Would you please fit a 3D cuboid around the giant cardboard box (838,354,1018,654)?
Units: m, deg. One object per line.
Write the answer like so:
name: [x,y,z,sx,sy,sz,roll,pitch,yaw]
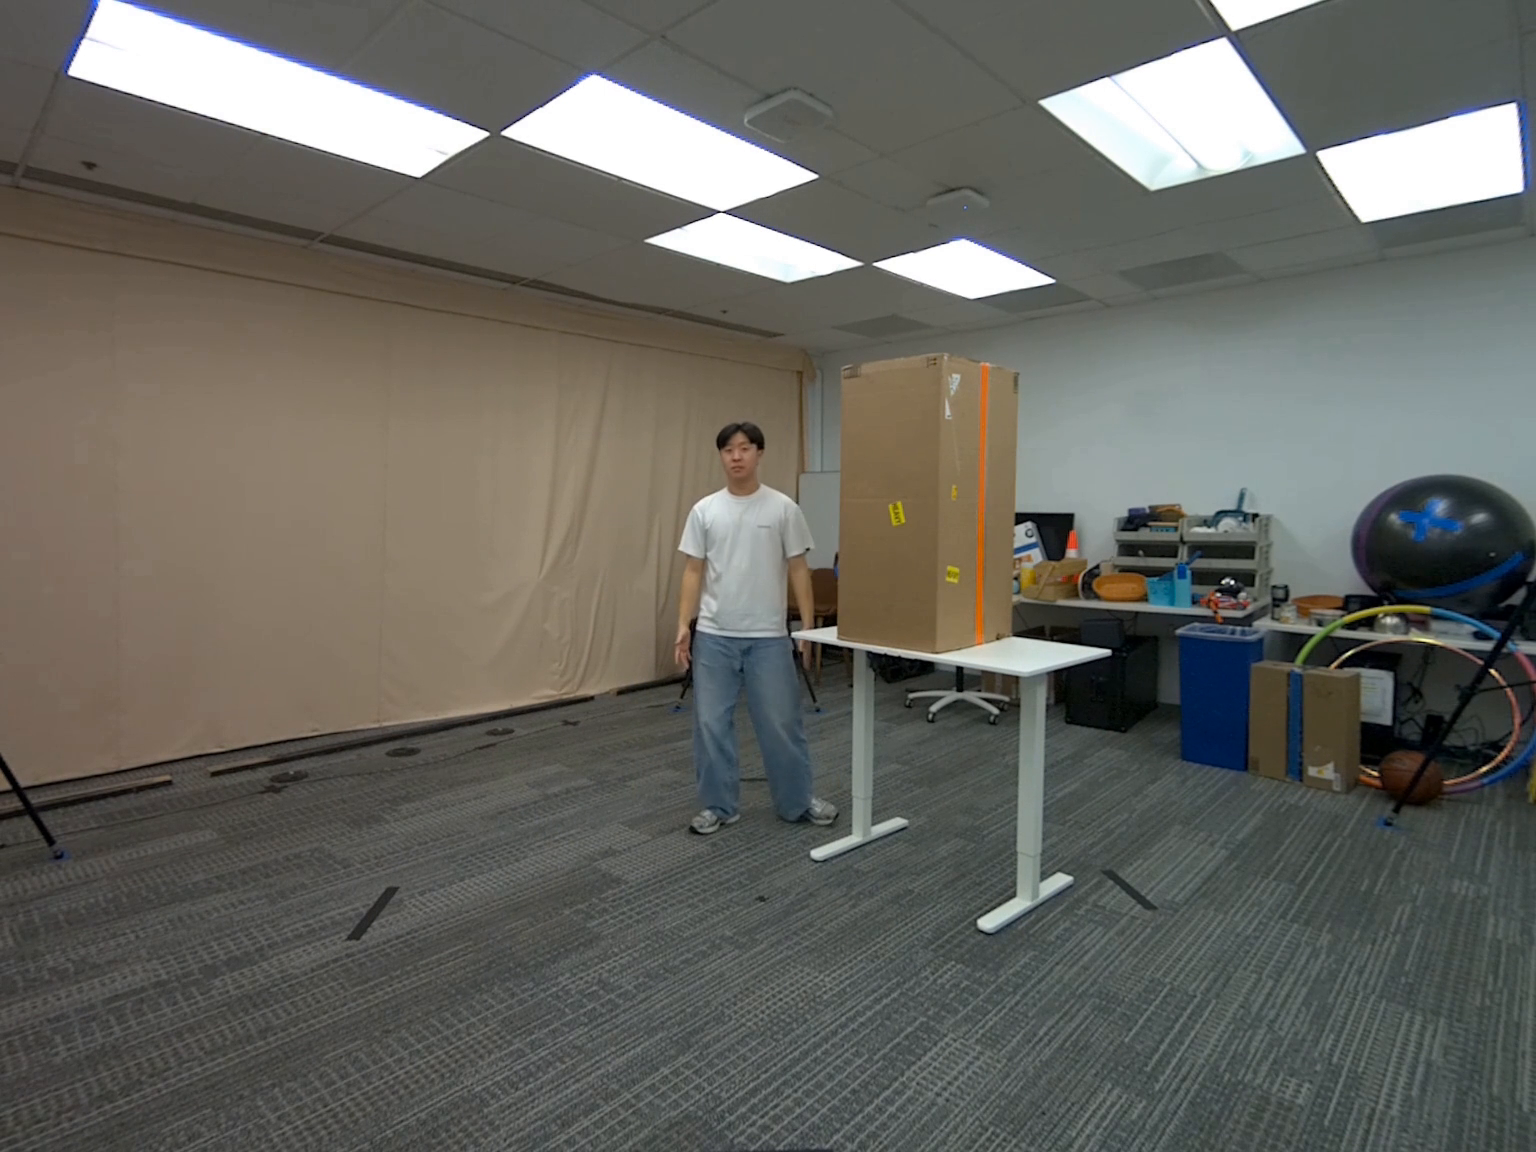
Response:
giant cardboard box: [0.623,-0.267,3.200,0.440,1.024,0.559,4,4,43]
